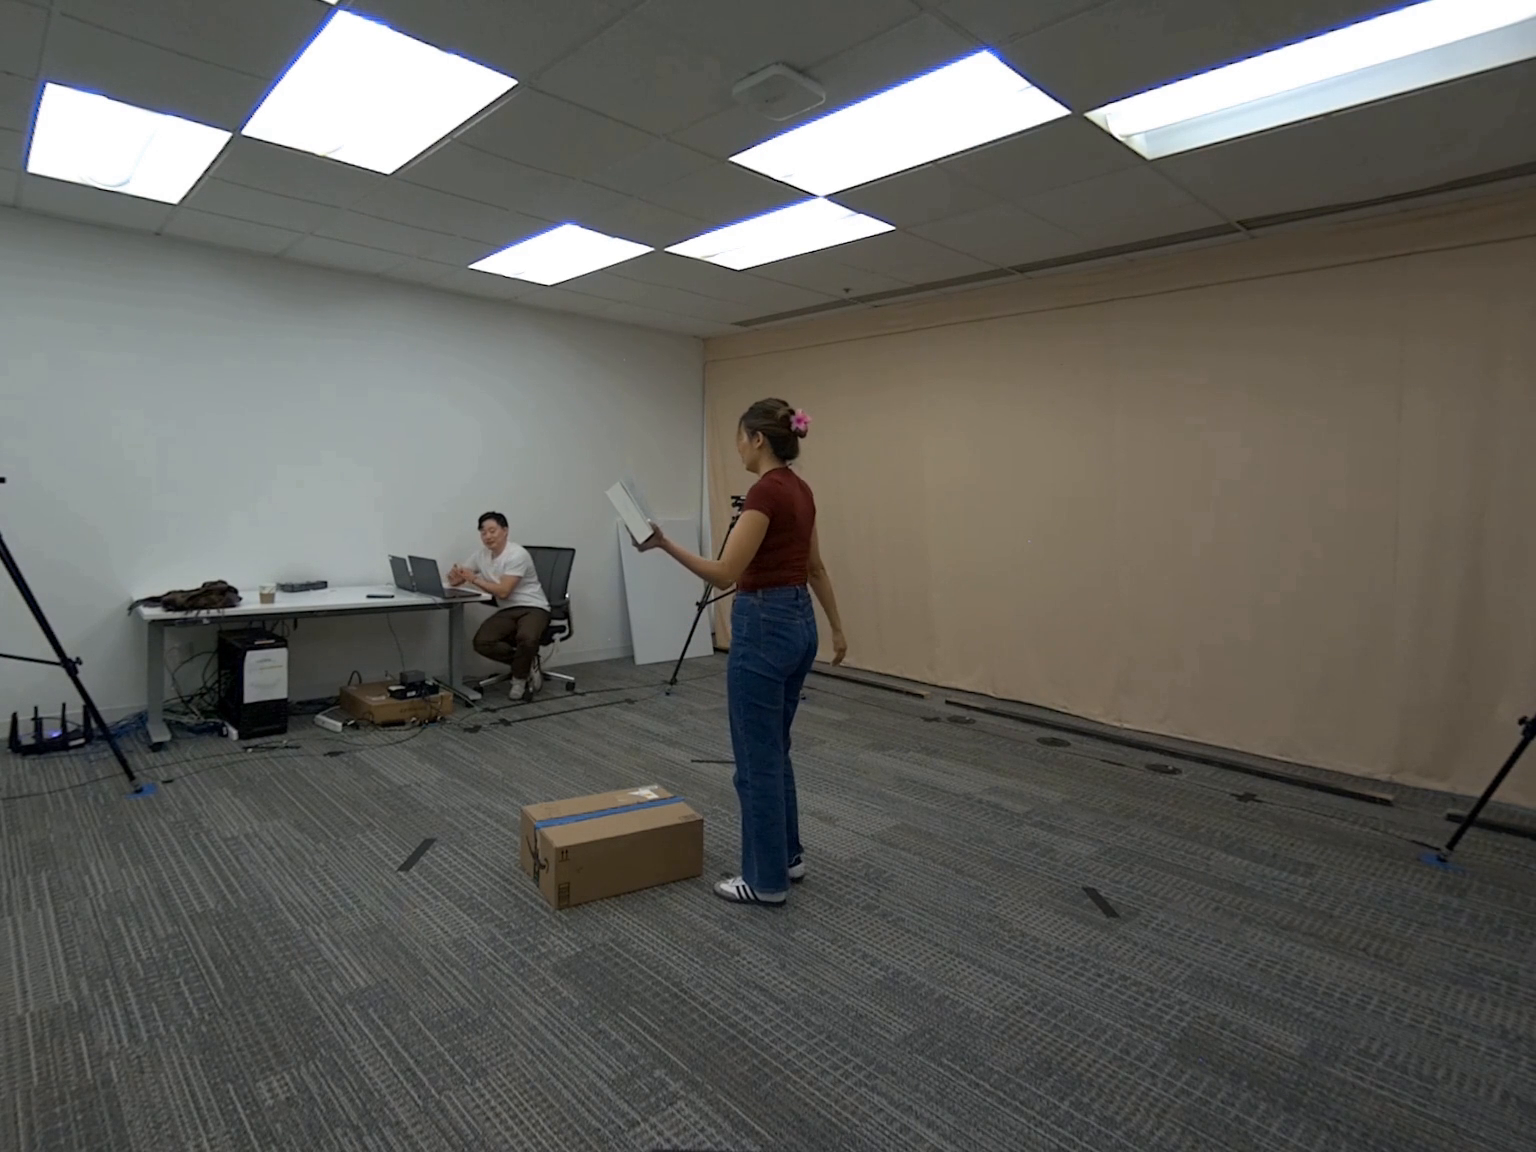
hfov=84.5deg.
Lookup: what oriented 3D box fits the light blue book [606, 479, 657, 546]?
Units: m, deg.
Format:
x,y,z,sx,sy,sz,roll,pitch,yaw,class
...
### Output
x,y,z,sx,sy,sz,roll,pitch,yaw,class
-0.420,-0.206,2.597,0.059,0.191,0.261,-31,4,2,light blue book
